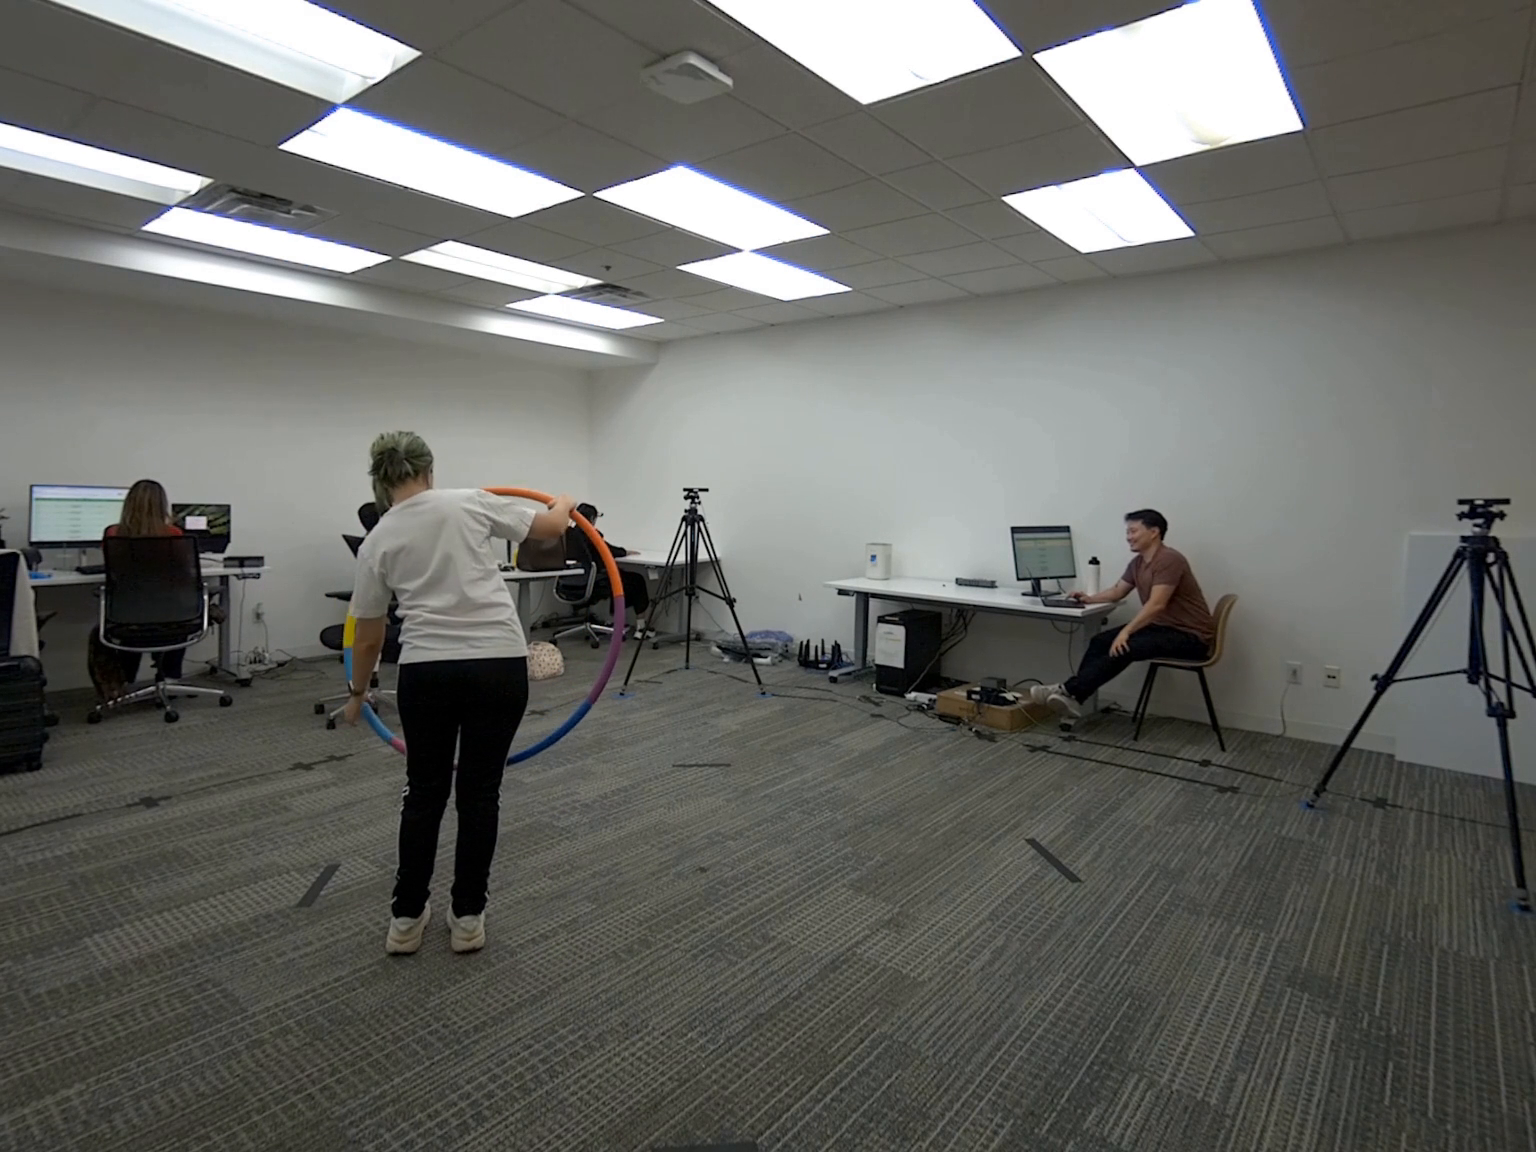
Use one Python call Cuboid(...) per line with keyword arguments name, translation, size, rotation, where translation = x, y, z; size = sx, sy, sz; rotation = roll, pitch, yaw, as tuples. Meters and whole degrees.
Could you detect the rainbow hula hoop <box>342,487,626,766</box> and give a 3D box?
Cuboid(name="rainbow hula hoop", translation=(-0.968, 0.167, 2.909), size=(0.987, 0.993, 0.035), rotation=(1, -17, 8))
